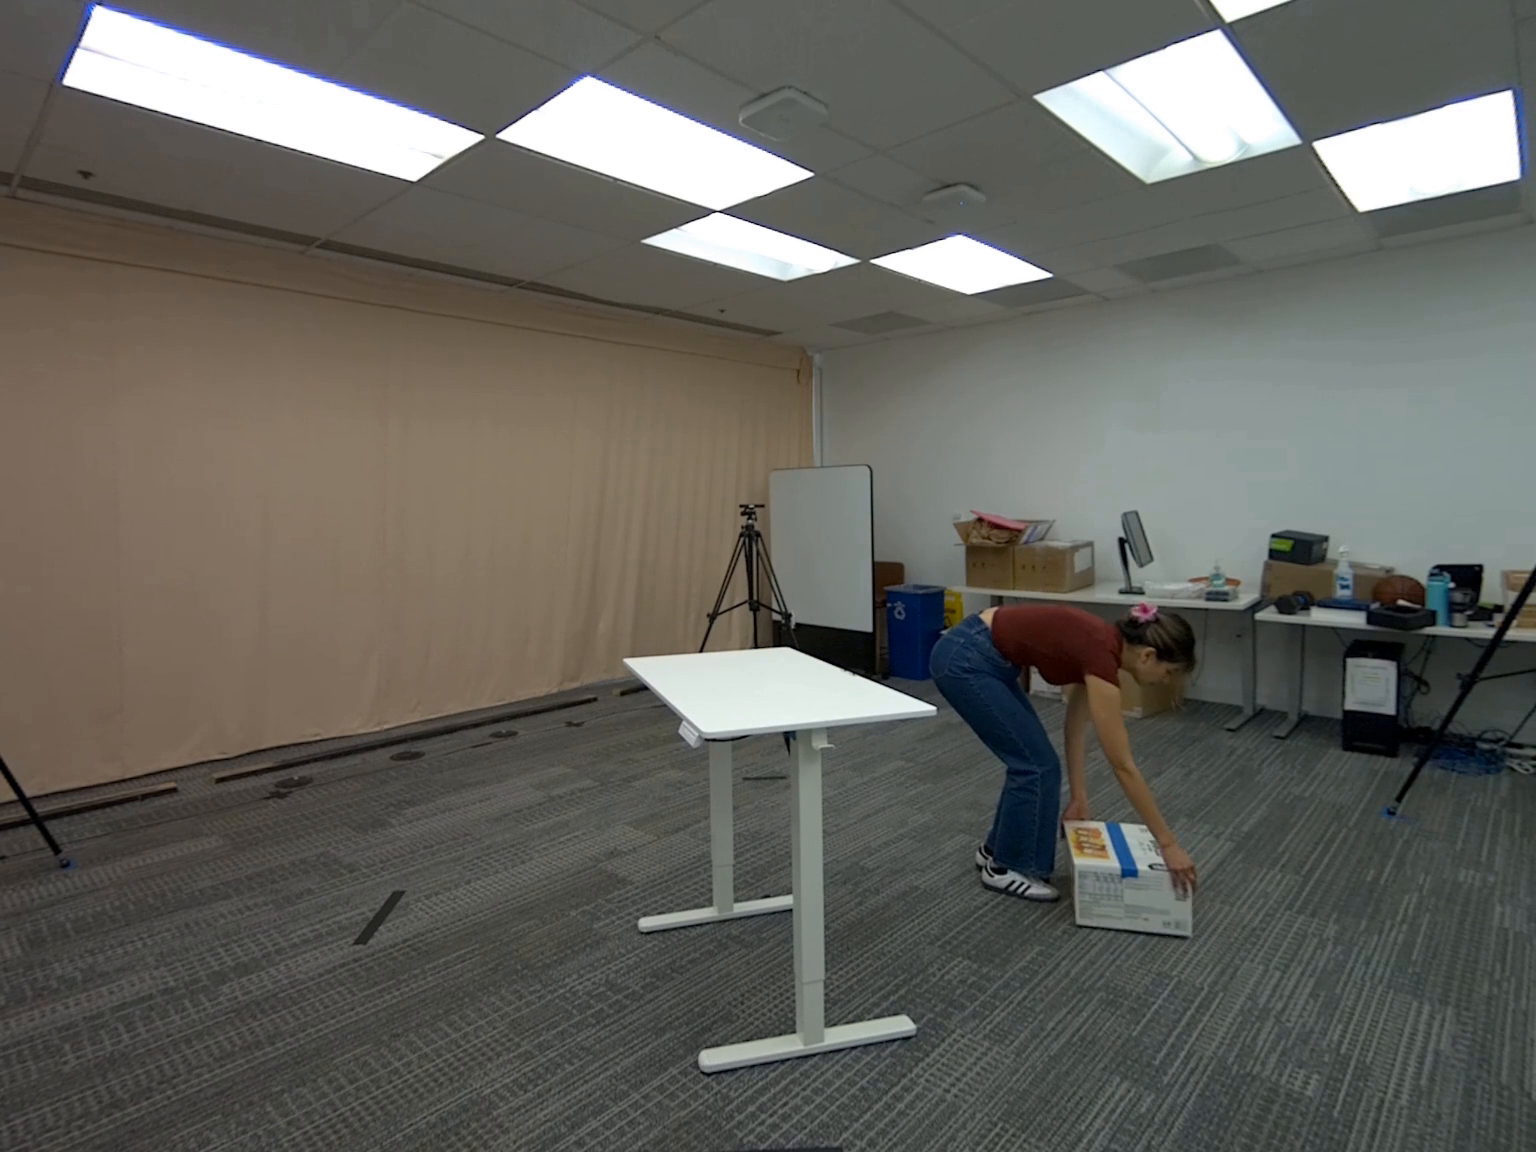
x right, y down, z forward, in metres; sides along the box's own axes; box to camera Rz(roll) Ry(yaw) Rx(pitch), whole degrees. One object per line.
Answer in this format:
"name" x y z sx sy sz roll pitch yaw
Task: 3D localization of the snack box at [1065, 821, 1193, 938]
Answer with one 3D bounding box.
"snack box" 1.220 1.006 2.863 0.346 0.205 0.399 -2 4 16
